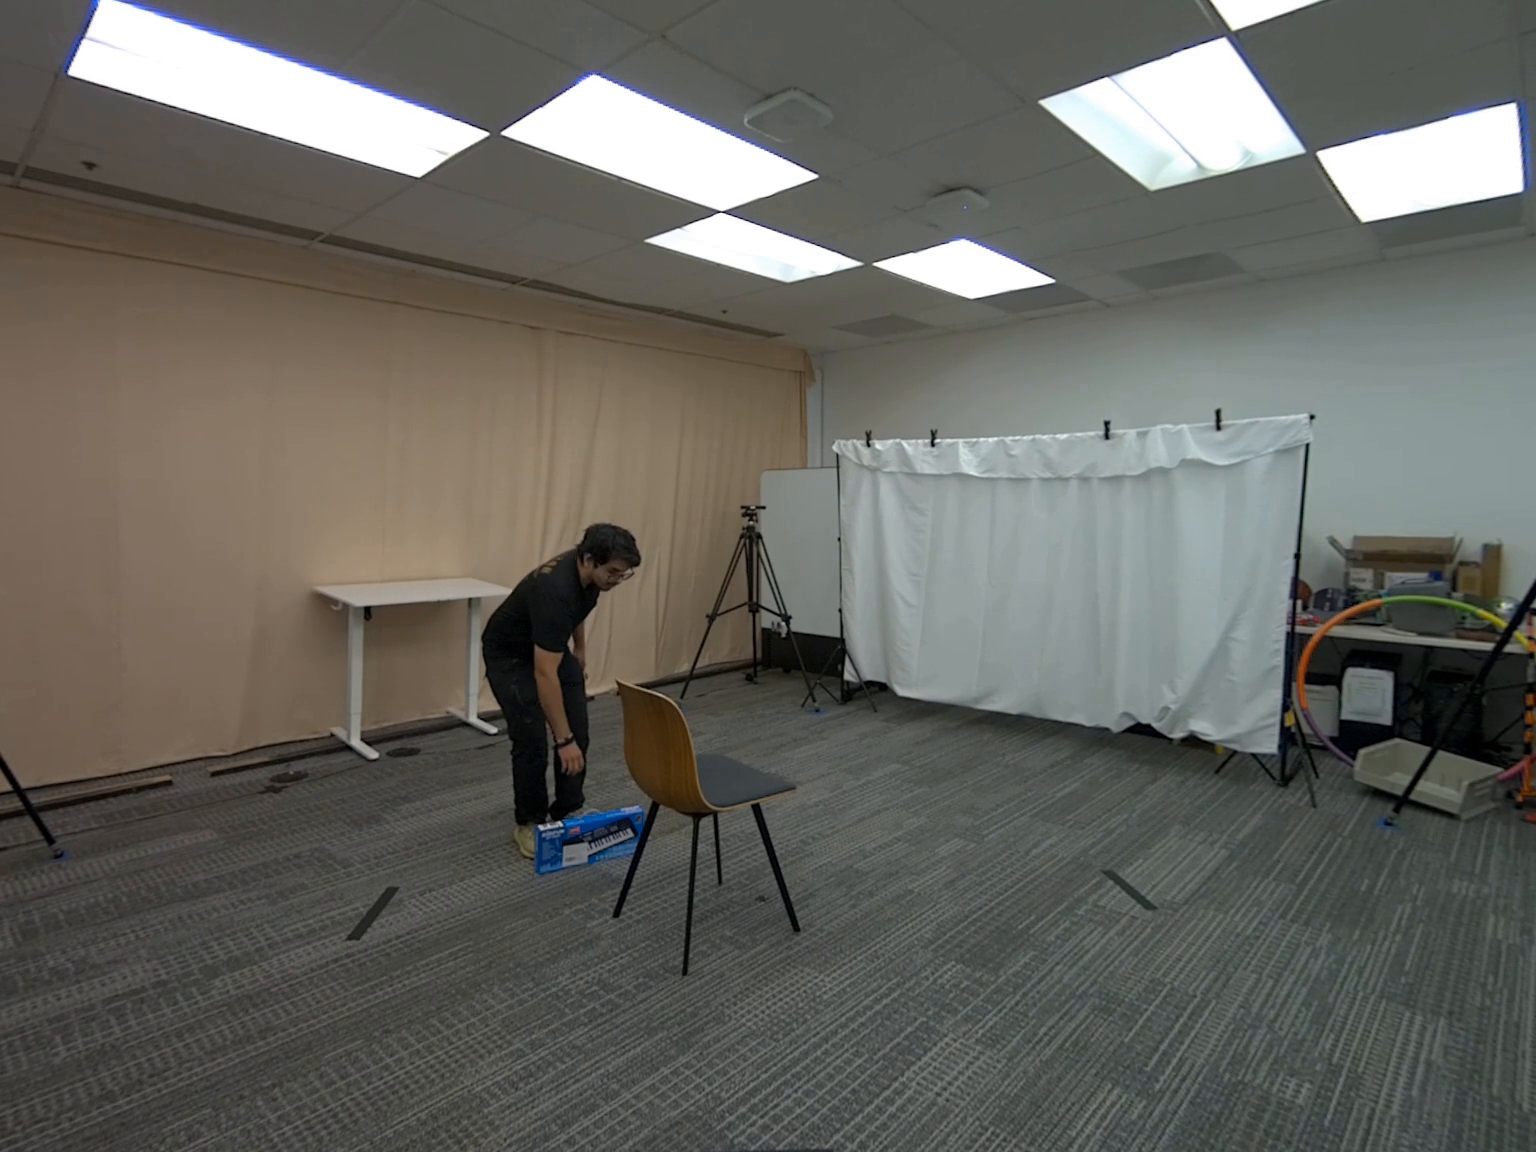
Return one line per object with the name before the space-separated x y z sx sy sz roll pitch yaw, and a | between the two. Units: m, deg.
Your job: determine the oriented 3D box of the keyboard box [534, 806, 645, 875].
keyboard box | -0.703 1.040 3.315 0.425 0.175 0.061 -3 8 -30
